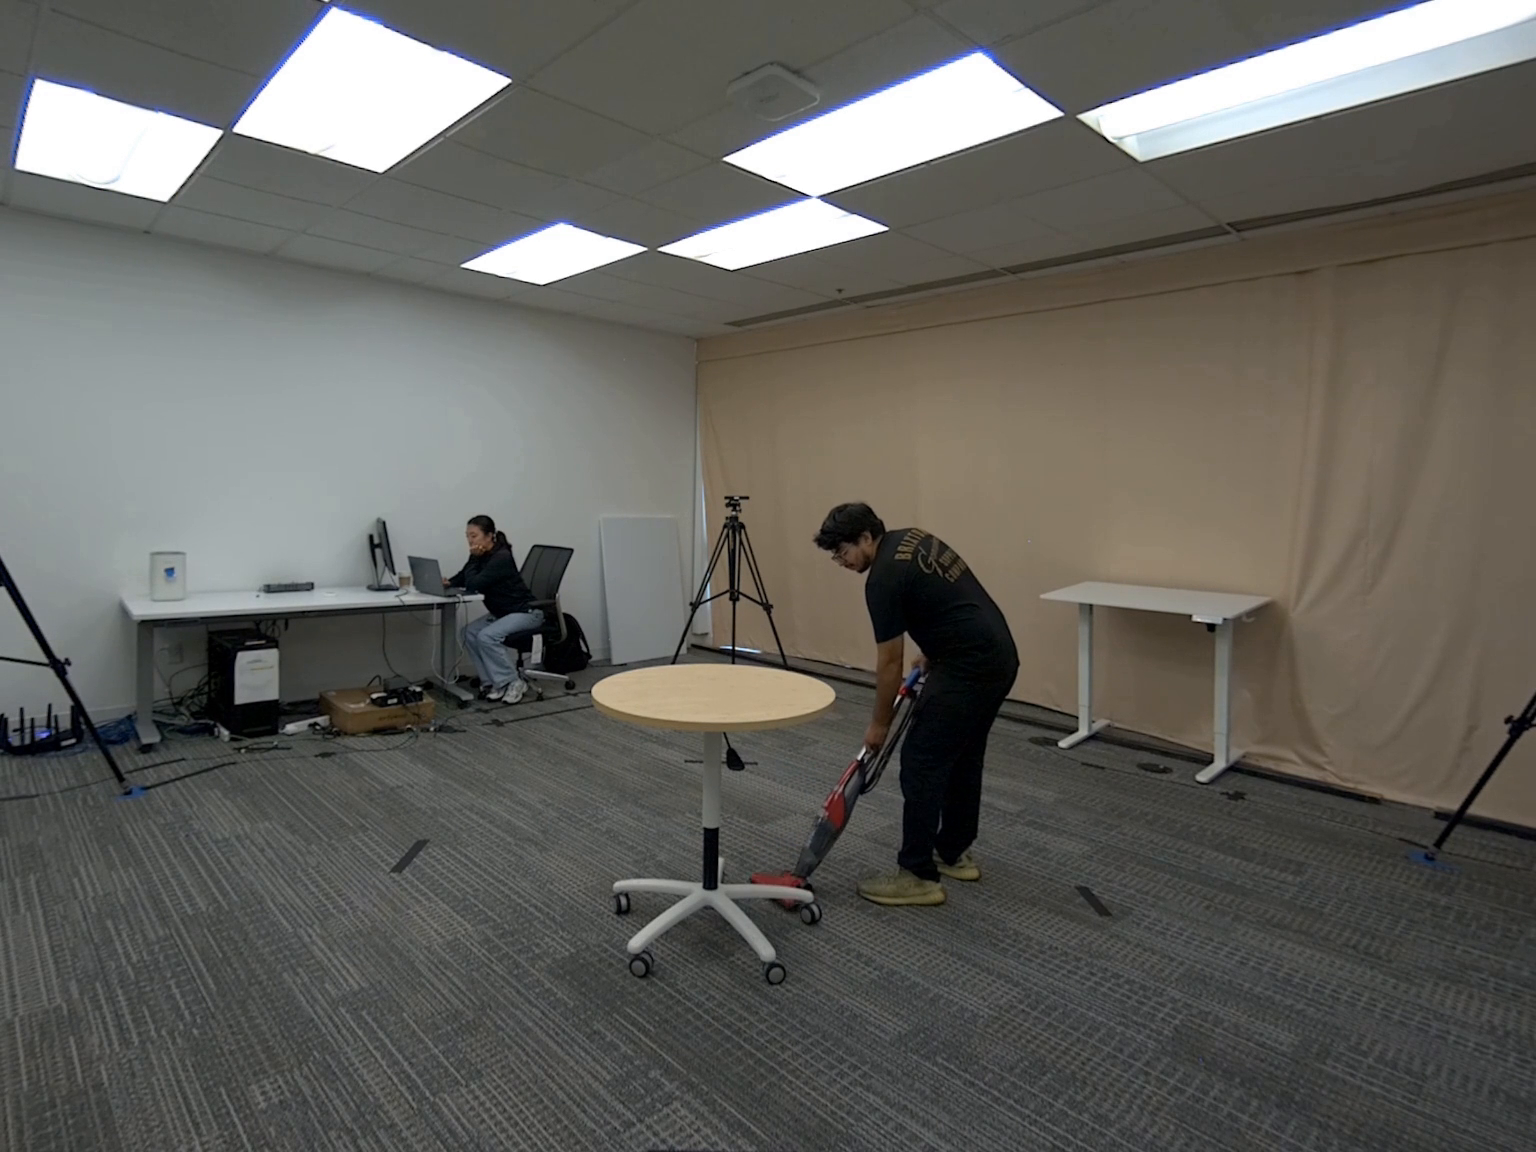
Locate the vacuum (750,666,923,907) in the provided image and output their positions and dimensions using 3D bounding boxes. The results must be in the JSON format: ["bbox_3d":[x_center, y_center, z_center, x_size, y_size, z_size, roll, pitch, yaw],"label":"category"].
[{"bbox_3d":[0.352,0.706,3.129,0.141,1.051,0.258,47,-22,-24],"label":"vacuum"}]
